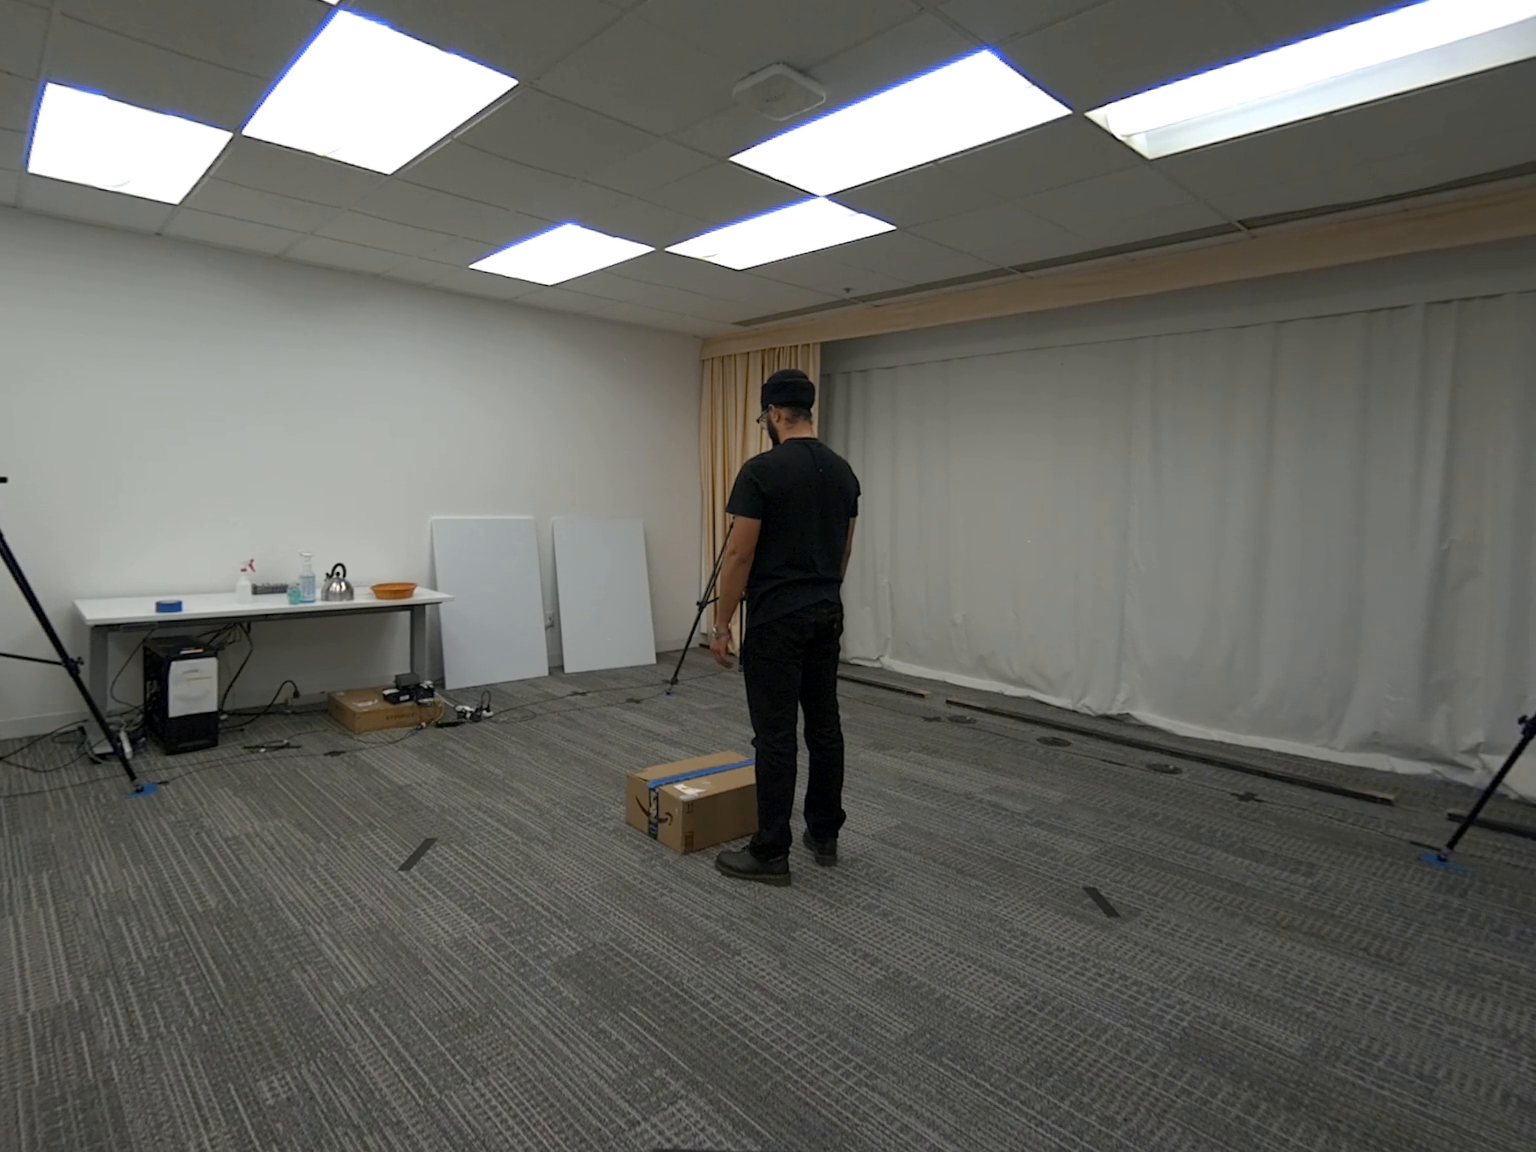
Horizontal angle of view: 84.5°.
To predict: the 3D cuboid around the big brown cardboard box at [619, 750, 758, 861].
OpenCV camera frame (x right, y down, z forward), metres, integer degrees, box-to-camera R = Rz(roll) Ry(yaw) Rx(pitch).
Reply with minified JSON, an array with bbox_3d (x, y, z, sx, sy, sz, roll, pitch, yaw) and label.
[{"bbox_3d":[-0.264,0.949,3.583,0.575,0.232,0.428,-1,5,-41],"label":"big brown cardboard box"}]
